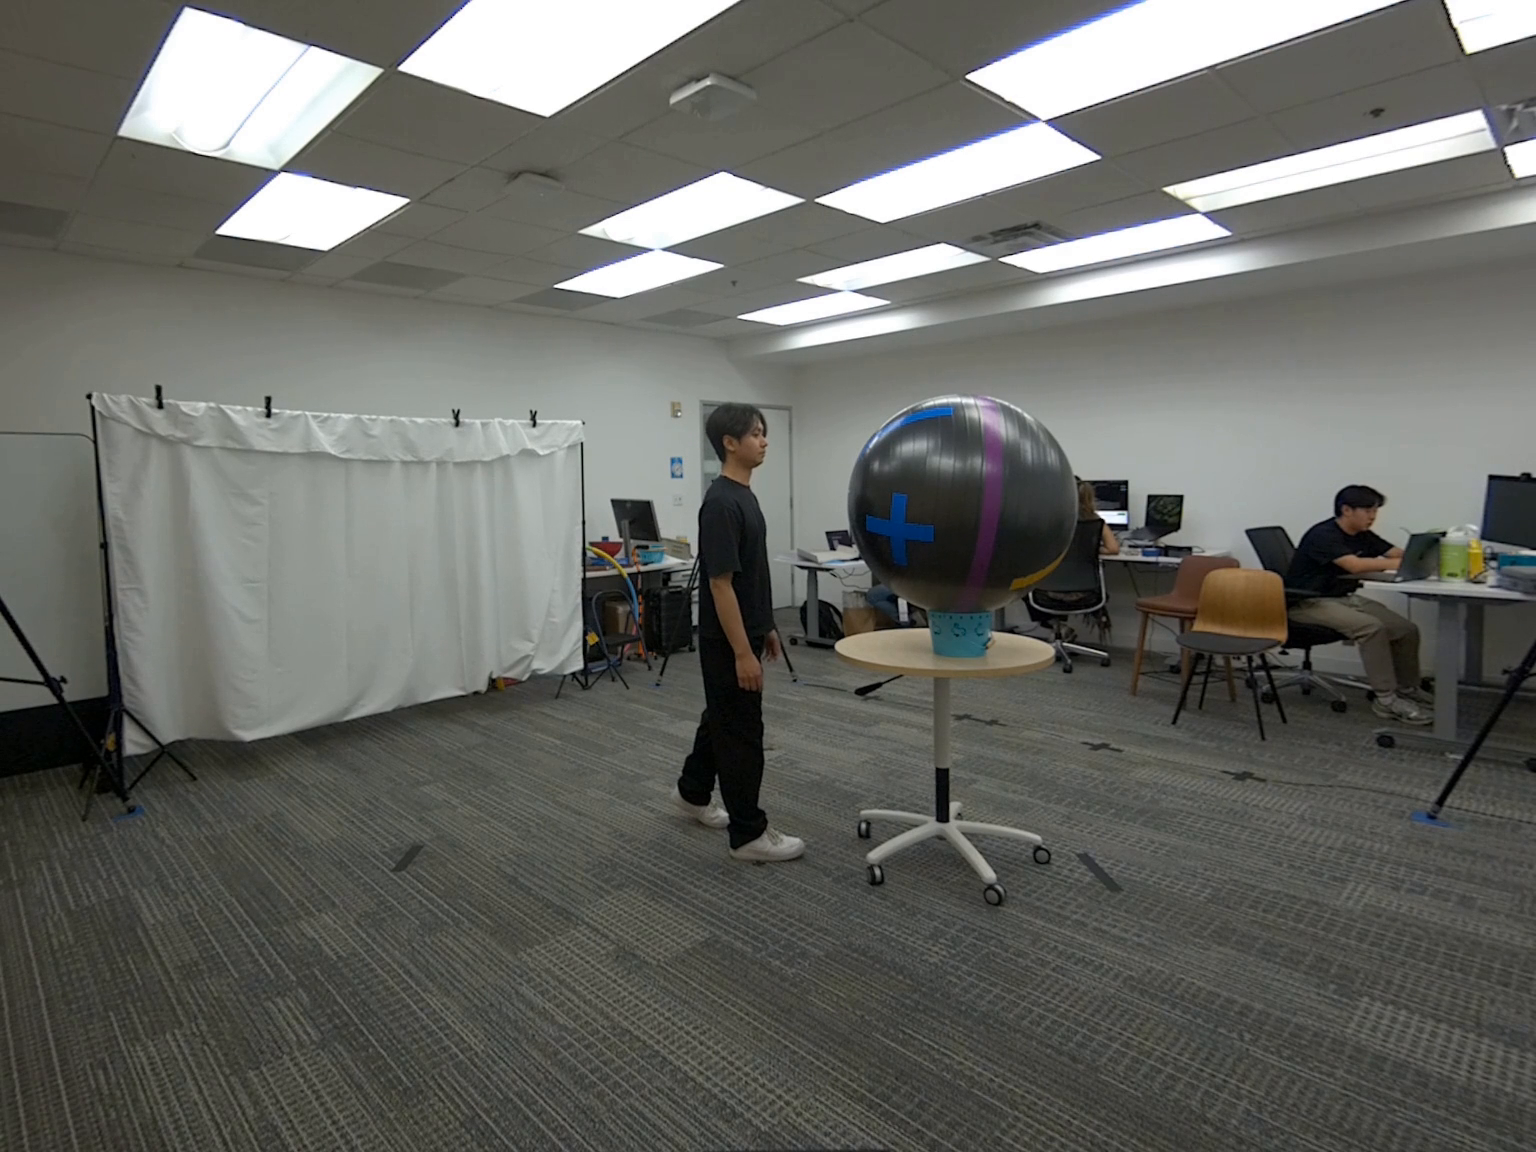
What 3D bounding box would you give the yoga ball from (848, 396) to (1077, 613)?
[{"bbox_3d":[0.667,-0.245,2.957,0.757,0.755,0.762,-1,5,-2],"label":"yoga ball"}]
